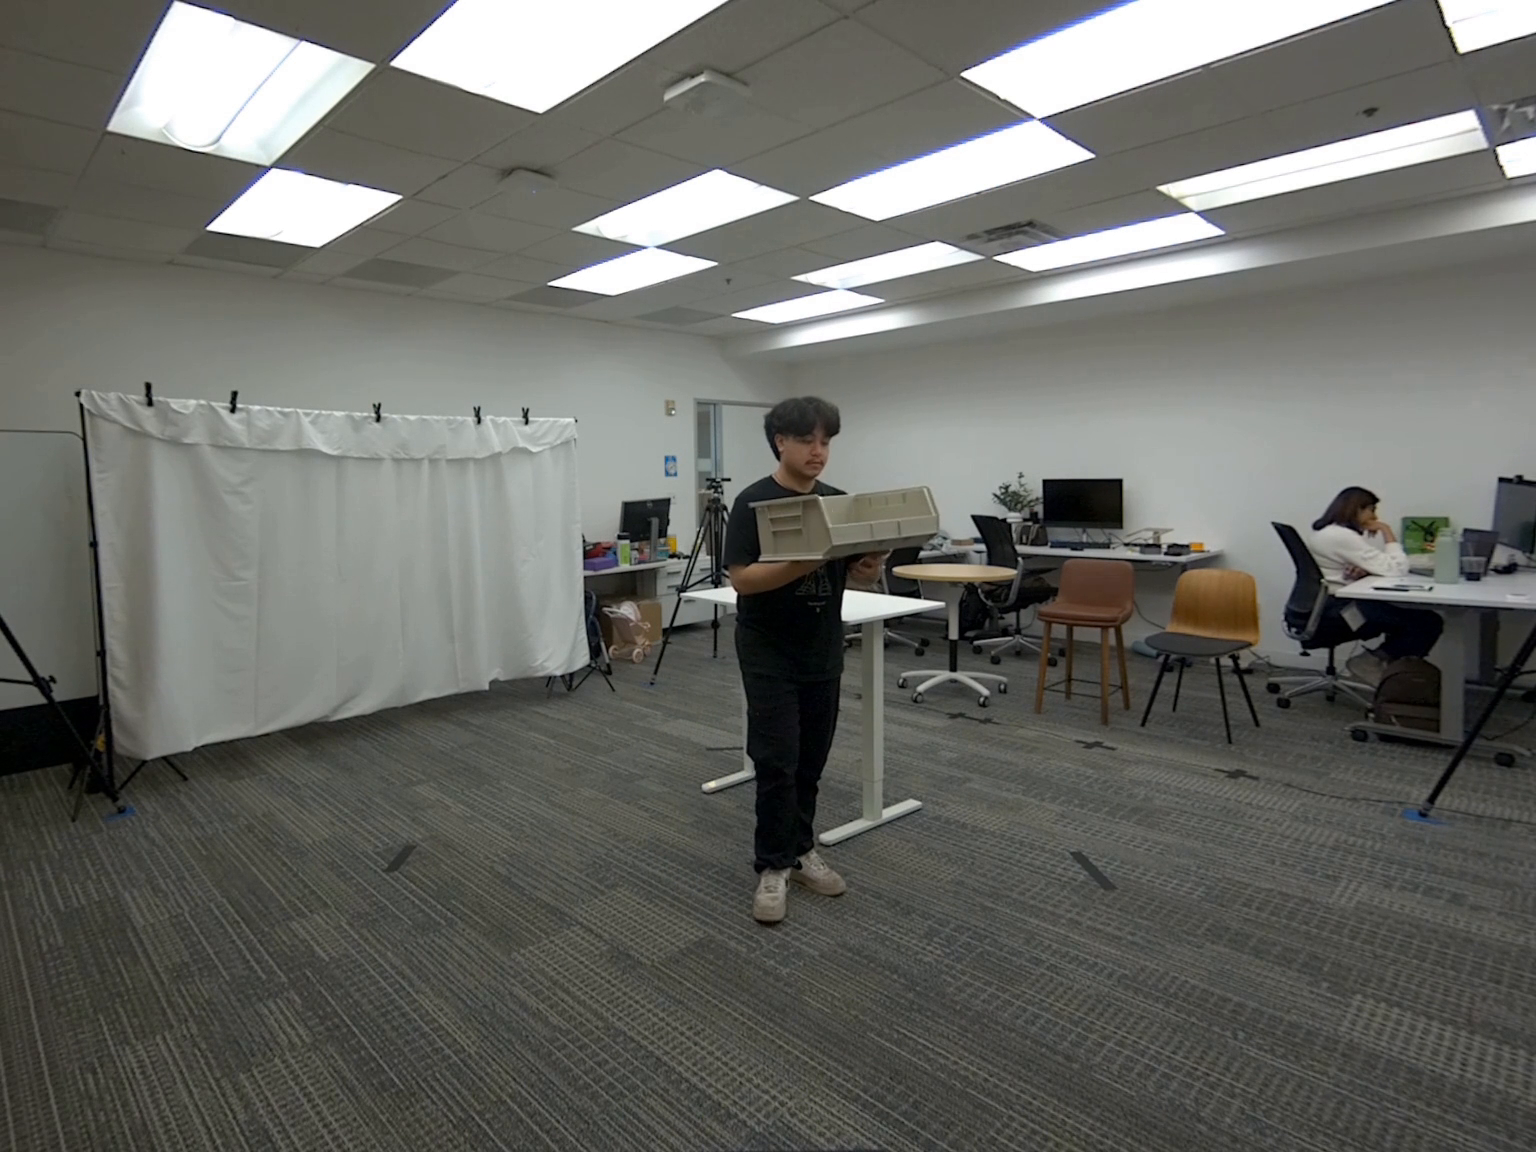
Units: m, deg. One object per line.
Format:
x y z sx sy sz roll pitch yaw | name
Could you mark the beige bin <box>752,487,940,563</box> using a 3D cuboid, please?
0.225 -0.155 2.560 0.413 0.189 0.386 -8 3 -32 | beige bin
